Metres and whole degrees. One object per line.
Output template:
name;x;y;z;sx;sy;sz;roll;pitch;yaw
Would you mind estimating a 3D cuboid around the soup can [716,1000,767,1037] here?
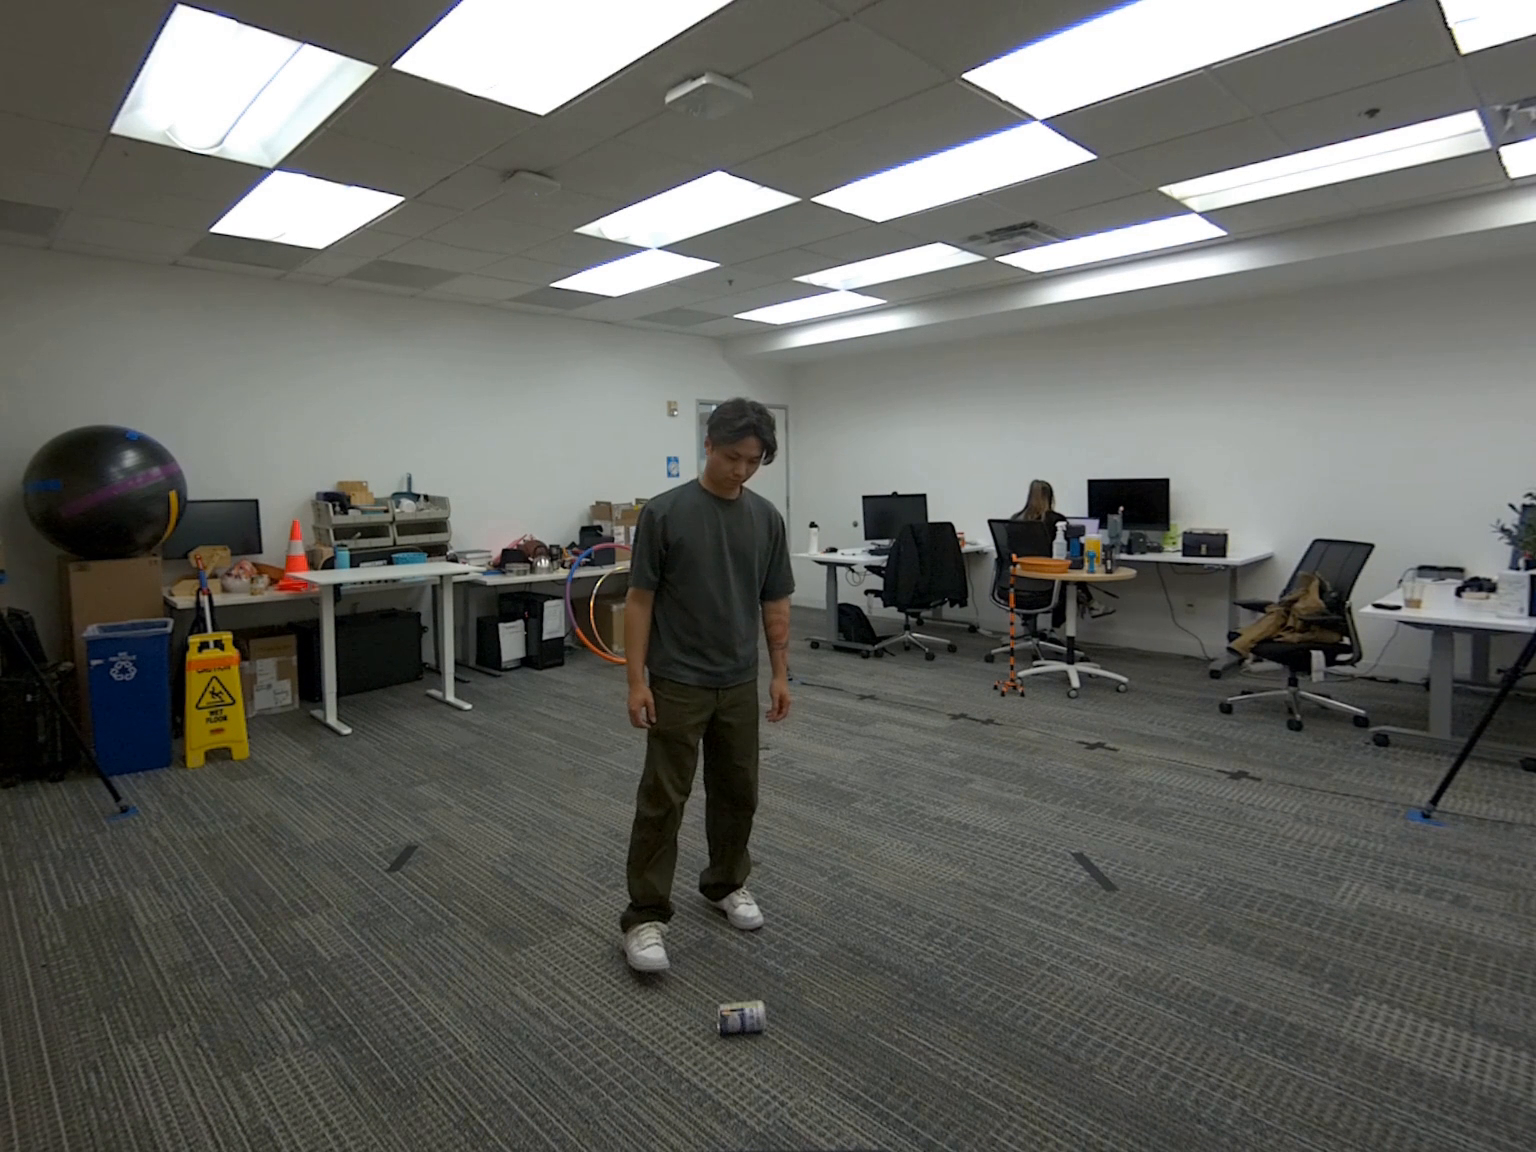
soup can;-0.066;1.124;2.170;0.121;0.067;0.068;-4;5;-8
